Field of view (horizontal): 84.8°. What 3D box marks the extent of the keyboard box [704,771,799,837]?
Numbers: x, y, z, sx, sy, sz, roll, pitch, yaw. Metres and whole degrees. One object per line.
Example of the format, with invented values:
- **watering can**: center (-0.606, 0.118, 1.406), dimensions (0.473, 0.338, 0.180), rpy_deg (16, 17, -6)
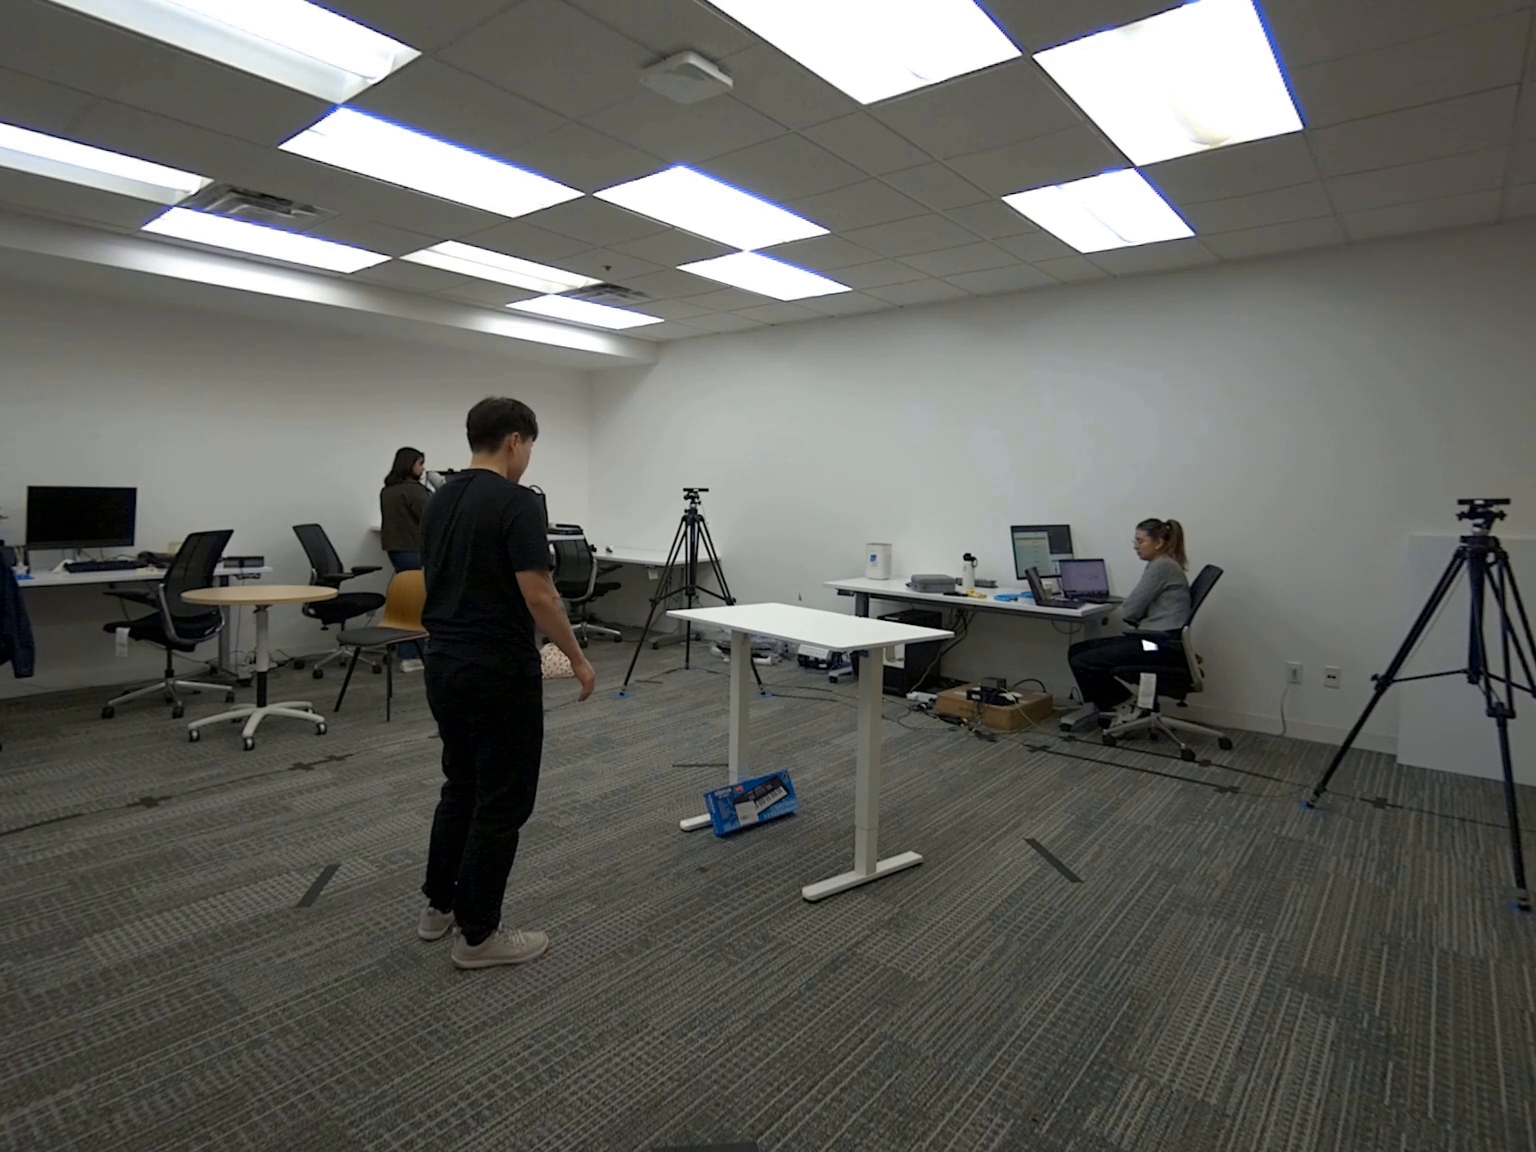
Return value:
- **keyboard box**: center (-0.069, 0.945, 3.558), dimensions (0.424, 0.180, 0.059), rpy_deg (-3, -22, -41)
